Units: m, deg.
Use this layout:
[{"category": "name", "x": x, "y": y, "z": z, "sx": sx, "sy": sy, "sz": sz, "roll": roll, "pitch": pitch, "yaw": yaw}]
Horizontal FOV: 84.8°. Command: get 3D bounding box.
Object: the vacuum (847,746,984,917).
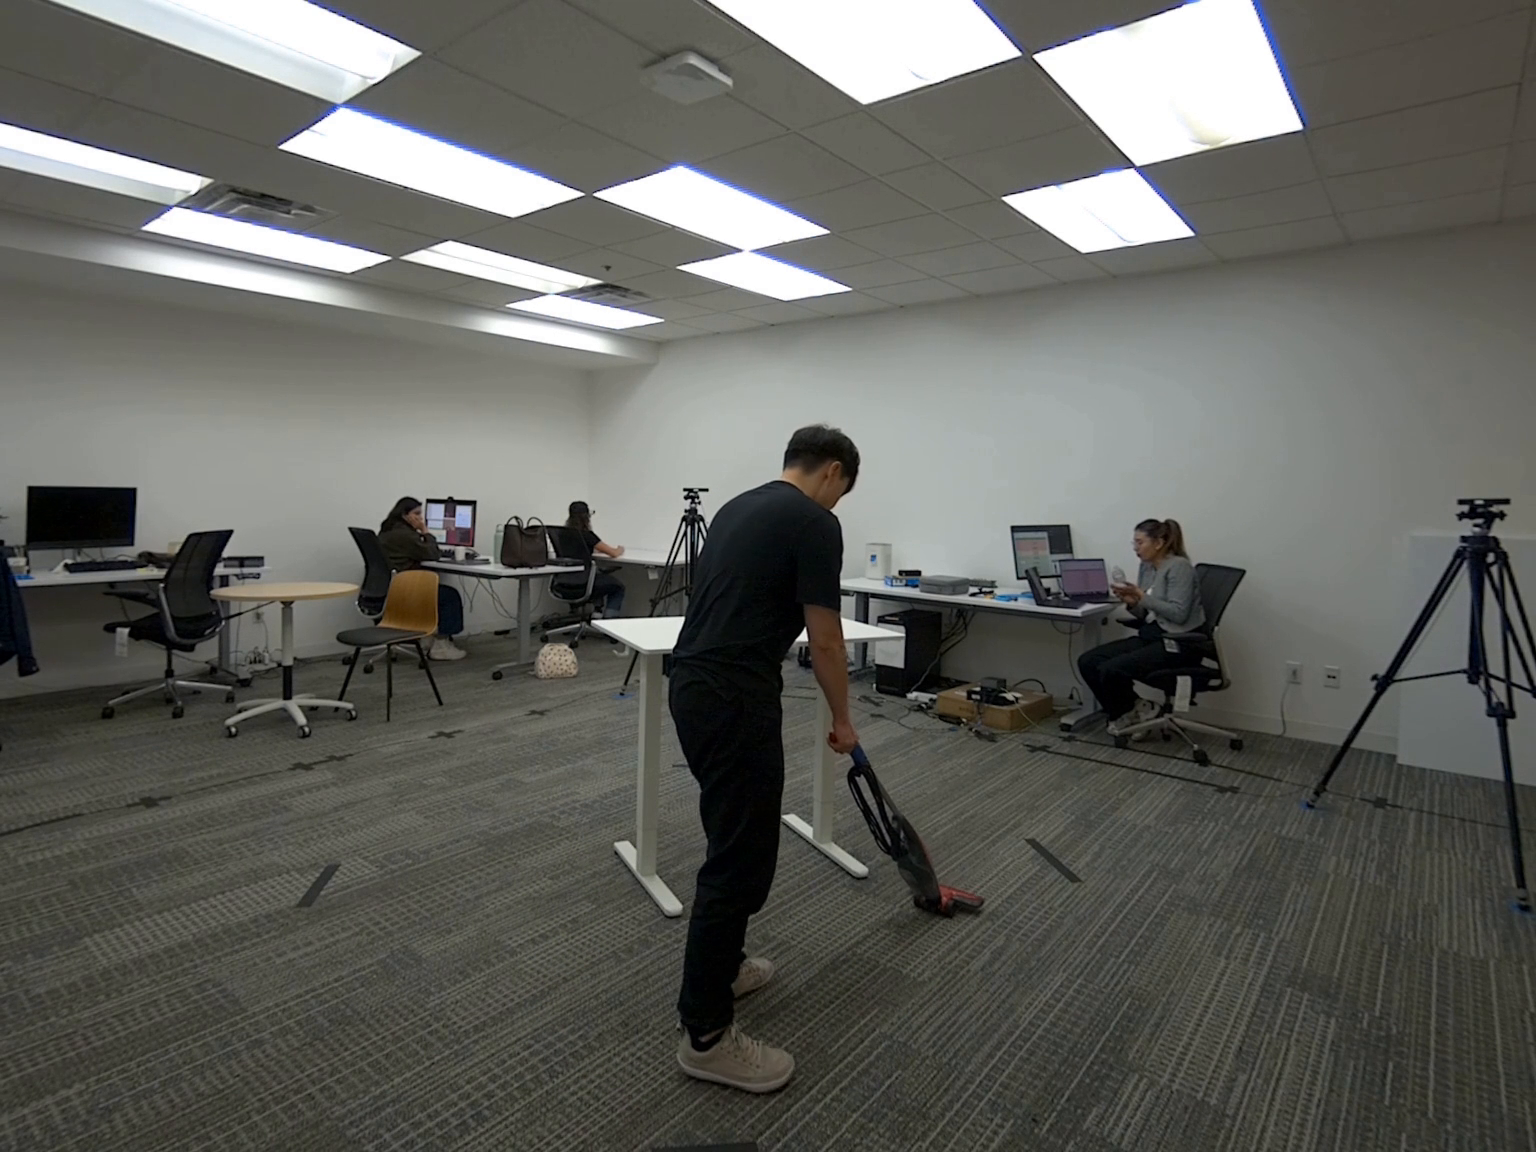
[{"category": "vacuum", "x": 0.372, "y": 0.772, "z": 2.571, "sx": 0.260, "sy": 0.145, "sz": 1.007, "roll": 2, "pitch": -38, "yaw": 36}]
